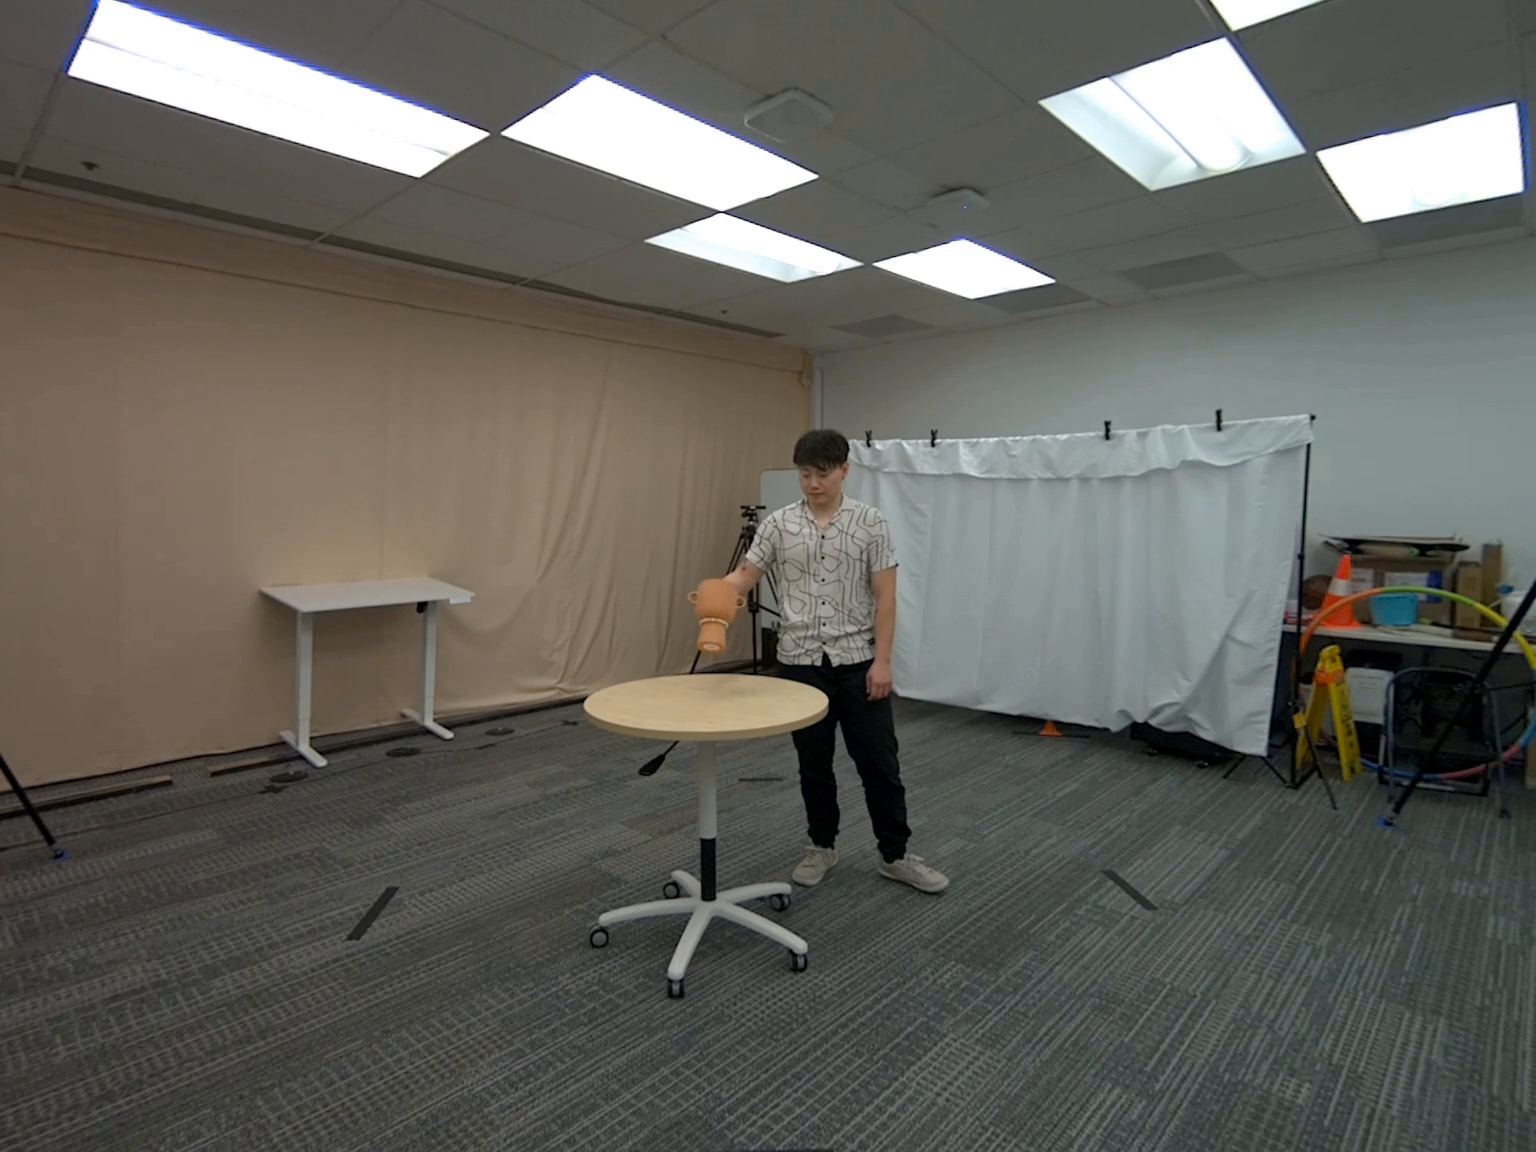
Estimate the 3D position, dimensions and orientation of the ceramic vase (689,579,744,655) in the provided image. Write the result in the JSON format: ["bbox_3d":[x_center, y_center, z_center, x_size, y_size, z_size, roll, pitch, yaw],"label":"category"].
[{"bbox_3d":[-0.168,0.140,2.786,0.163,0.222,0.130,-17,-34,37],"label":"ceramic vase"}]
